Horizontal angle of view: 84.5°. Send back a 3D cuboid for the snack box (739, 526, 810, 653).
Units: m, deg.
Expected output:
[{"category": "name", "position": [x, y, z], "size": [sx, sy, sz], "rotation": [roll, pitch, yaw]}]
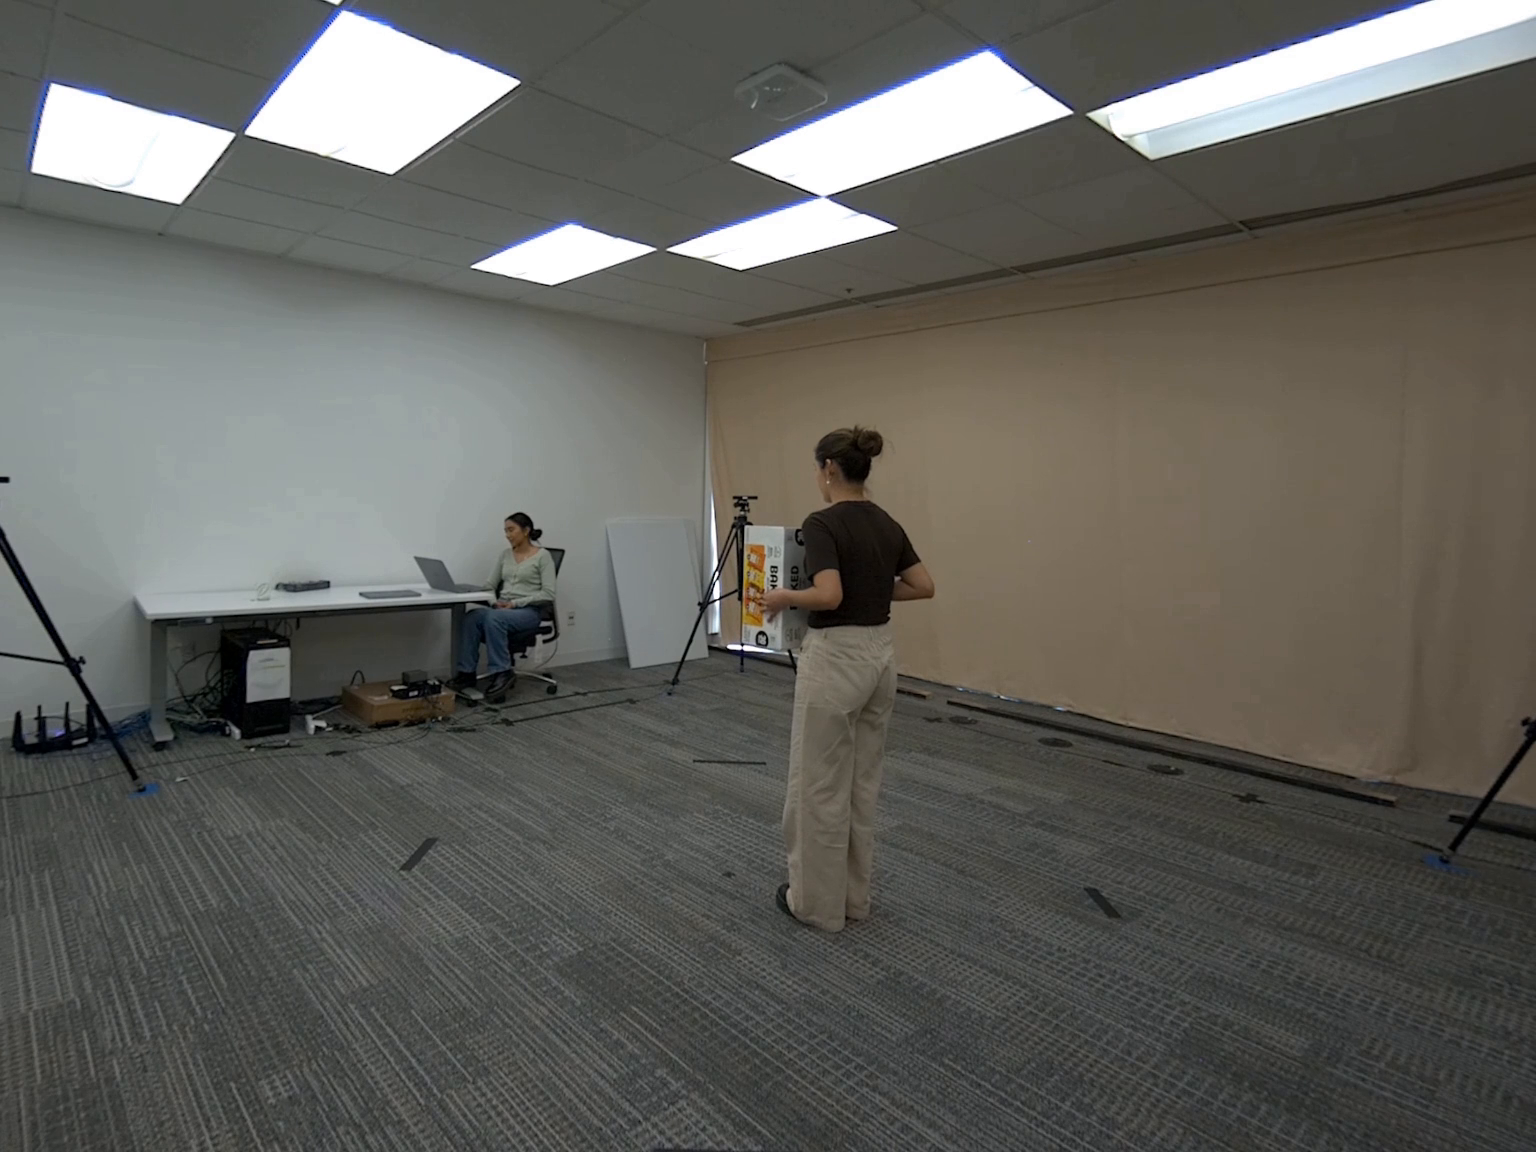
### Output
[{"category": "snack box", "position": [0.101, 0.036, 2.928], "size": [0.332, 0.405, 0.211], "rotation": [0, 2, -42]}]
